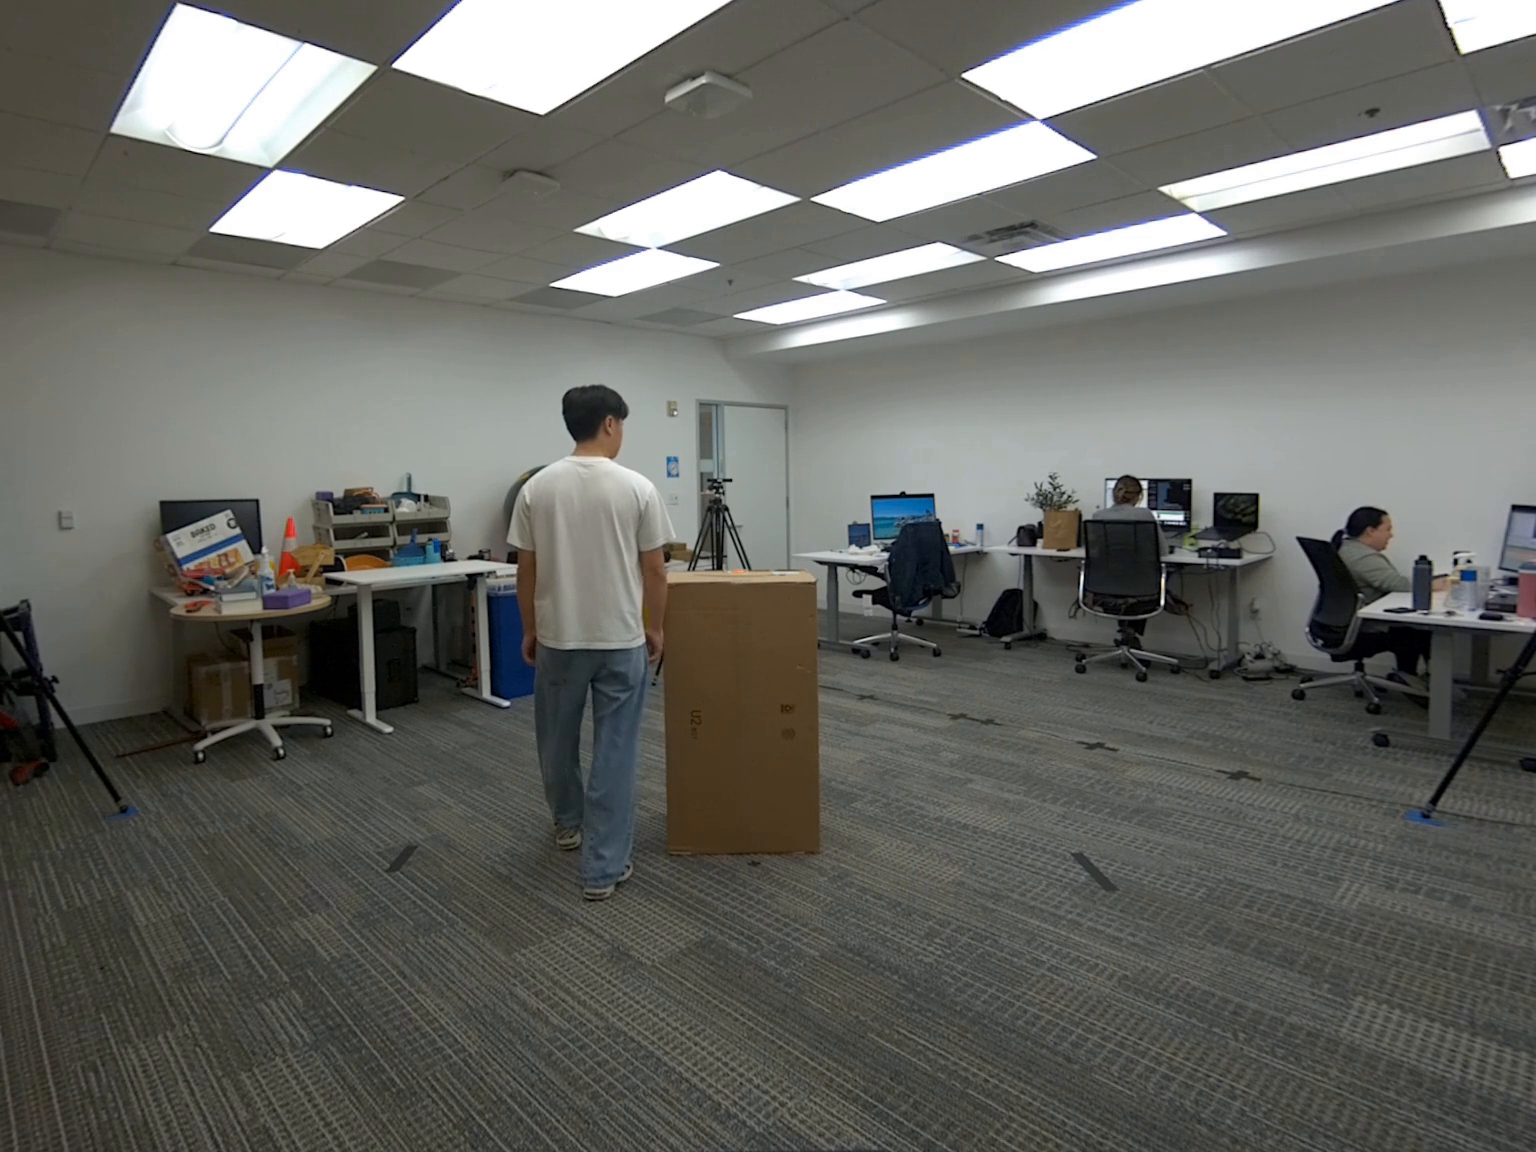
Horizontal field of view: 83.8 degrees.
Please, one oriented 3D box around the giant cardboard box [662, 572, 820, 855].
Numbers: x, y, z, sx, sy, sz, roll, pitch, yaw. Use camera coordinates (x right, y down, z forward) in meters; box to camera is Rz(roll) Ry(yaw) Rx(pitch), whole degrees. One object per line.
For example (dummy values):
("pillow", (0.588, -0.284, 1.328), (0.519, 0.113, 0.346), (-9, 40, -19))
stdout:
("giant cardboard box", (-0.102, 0.507, 3.363), (0.578, 1.022, 0.428), (-1, 4, 0))
